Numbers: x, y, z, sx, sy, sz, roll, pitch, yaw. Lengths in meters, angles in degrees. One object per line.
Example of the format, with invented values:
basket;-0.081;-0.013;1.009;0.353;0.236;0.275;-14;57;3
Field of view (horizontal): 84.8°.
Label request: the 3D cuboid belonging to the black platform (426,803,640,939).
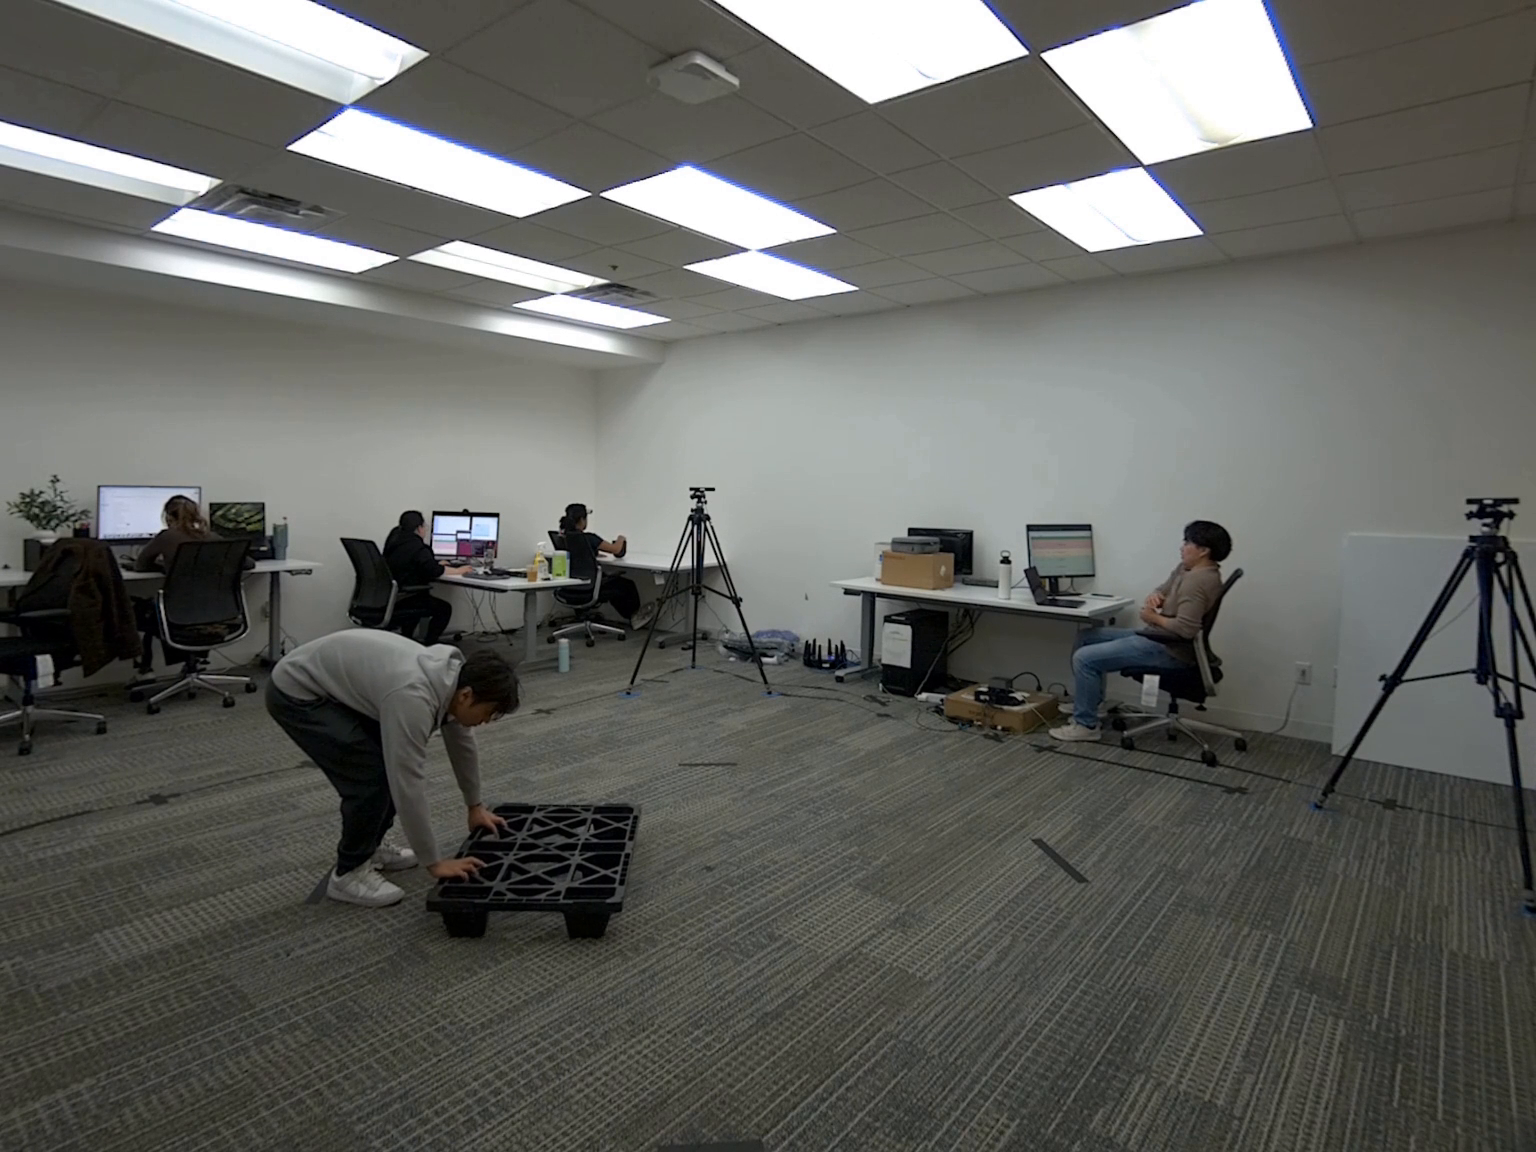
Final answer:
black platform;-0.781;1.002;2.971;0.604;0.143;0.811;1;6;-3
